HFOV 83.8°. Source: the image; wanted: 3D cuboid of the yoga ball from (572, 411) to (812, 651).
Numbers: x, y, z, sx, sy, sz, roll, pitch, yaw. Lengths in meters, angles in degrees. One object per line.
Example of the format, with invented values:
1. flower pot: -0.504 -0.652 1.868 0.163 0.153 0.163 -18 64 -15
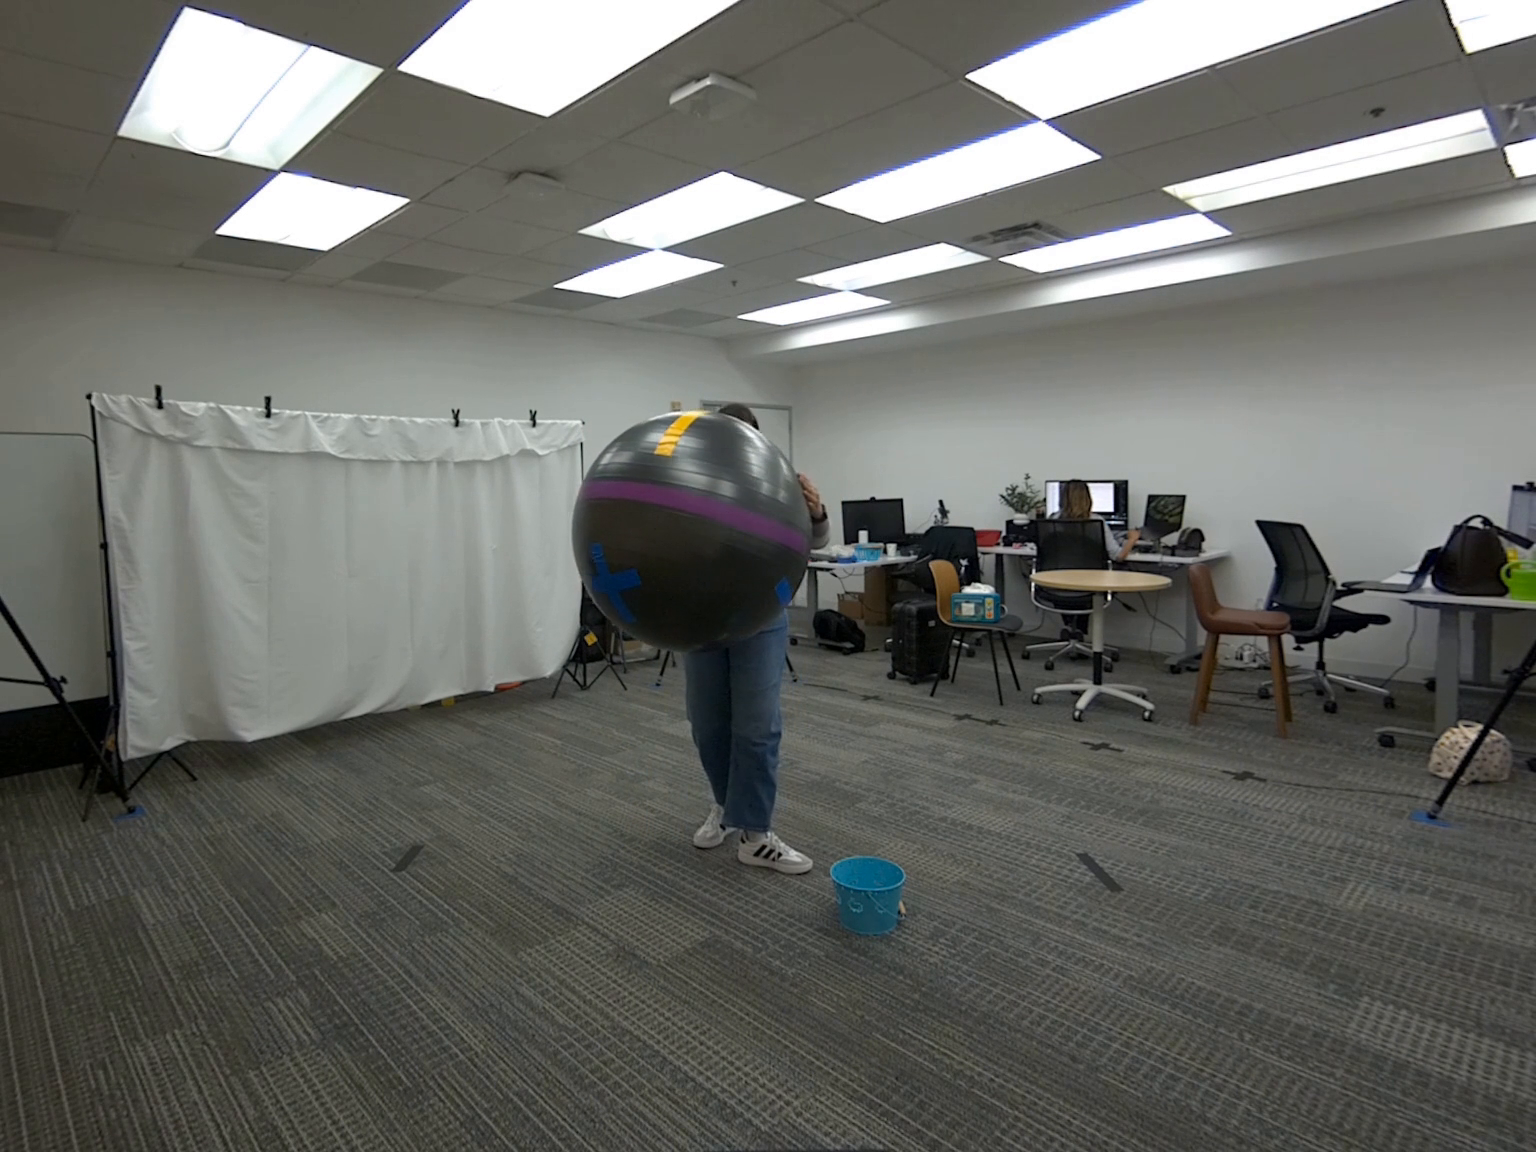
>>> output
1. yoga ball: -0.234 -0.135 2.698 0.757 0.755 0.762 -1 5 -2
